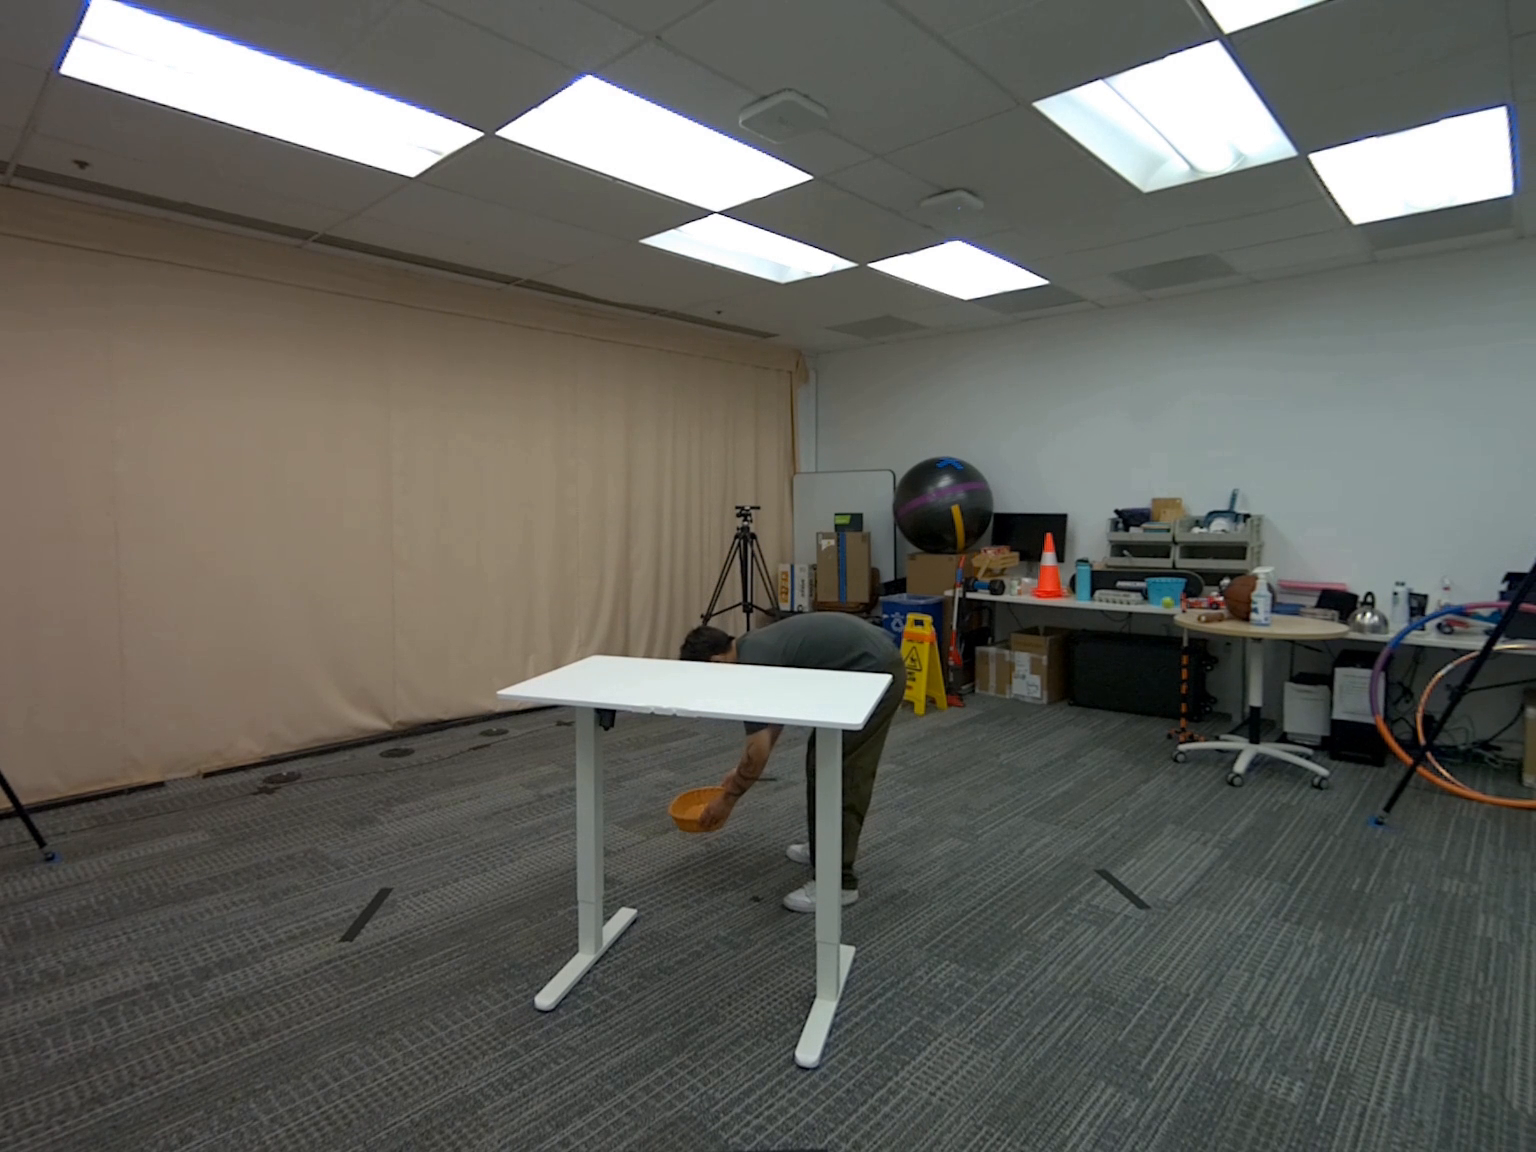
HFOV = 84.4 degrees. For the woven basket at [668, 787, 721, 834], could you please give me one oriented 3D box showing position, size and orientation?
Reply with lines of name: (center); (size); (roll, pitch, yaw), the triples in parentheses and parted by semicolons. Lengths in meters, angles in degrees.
woven basket: (-0.246, 0.907, 3.240); (0.256, 0.073, 0.346); (-4, 5, 14)
